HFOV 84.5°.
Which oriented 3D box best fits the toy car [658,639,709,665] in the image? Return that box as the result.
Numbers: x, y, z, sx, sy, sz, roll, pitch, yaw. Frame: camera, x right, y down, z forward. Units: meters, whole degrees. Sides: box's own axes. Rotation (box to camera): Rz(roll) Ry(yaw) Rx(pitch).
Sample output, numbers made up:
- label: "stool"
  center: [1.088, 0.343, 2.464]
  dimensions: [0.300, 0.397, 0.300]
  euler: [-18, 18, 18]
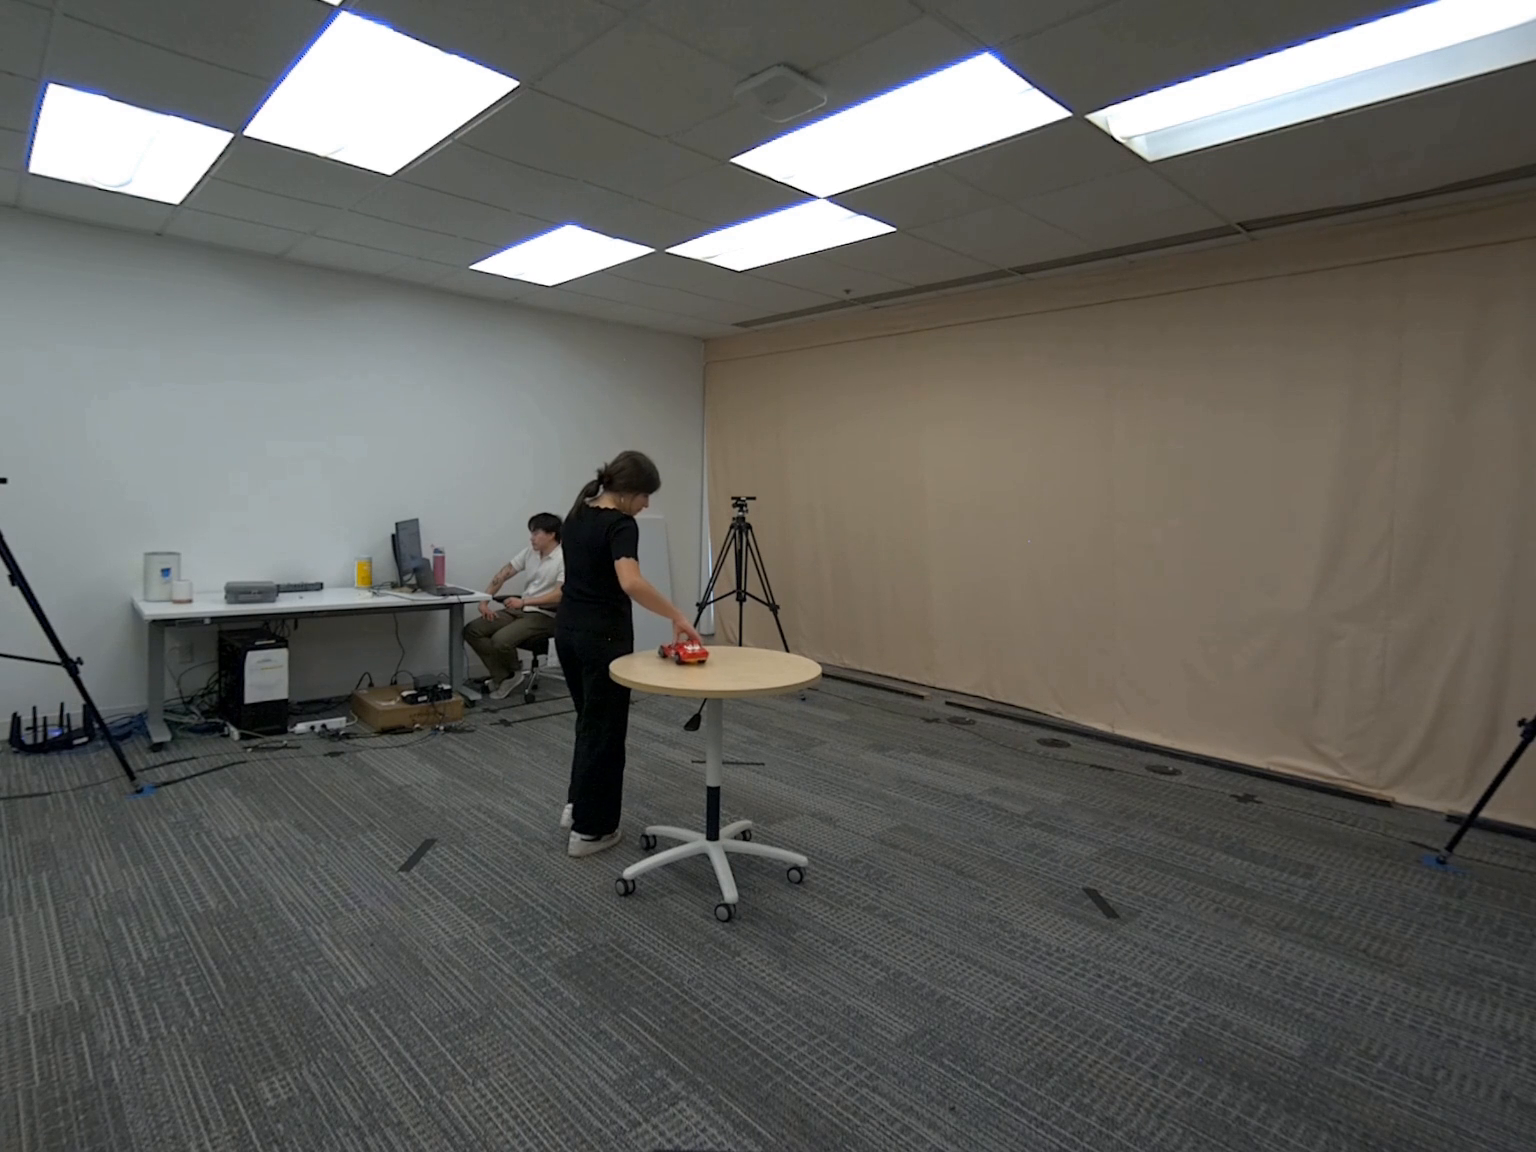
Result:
- label: "toy car"
  center: [-0.315, 0.288, 3.115]
  dimensions: [0.128, 0.083, 0.258]
  euler: [-2, -6, -28]
